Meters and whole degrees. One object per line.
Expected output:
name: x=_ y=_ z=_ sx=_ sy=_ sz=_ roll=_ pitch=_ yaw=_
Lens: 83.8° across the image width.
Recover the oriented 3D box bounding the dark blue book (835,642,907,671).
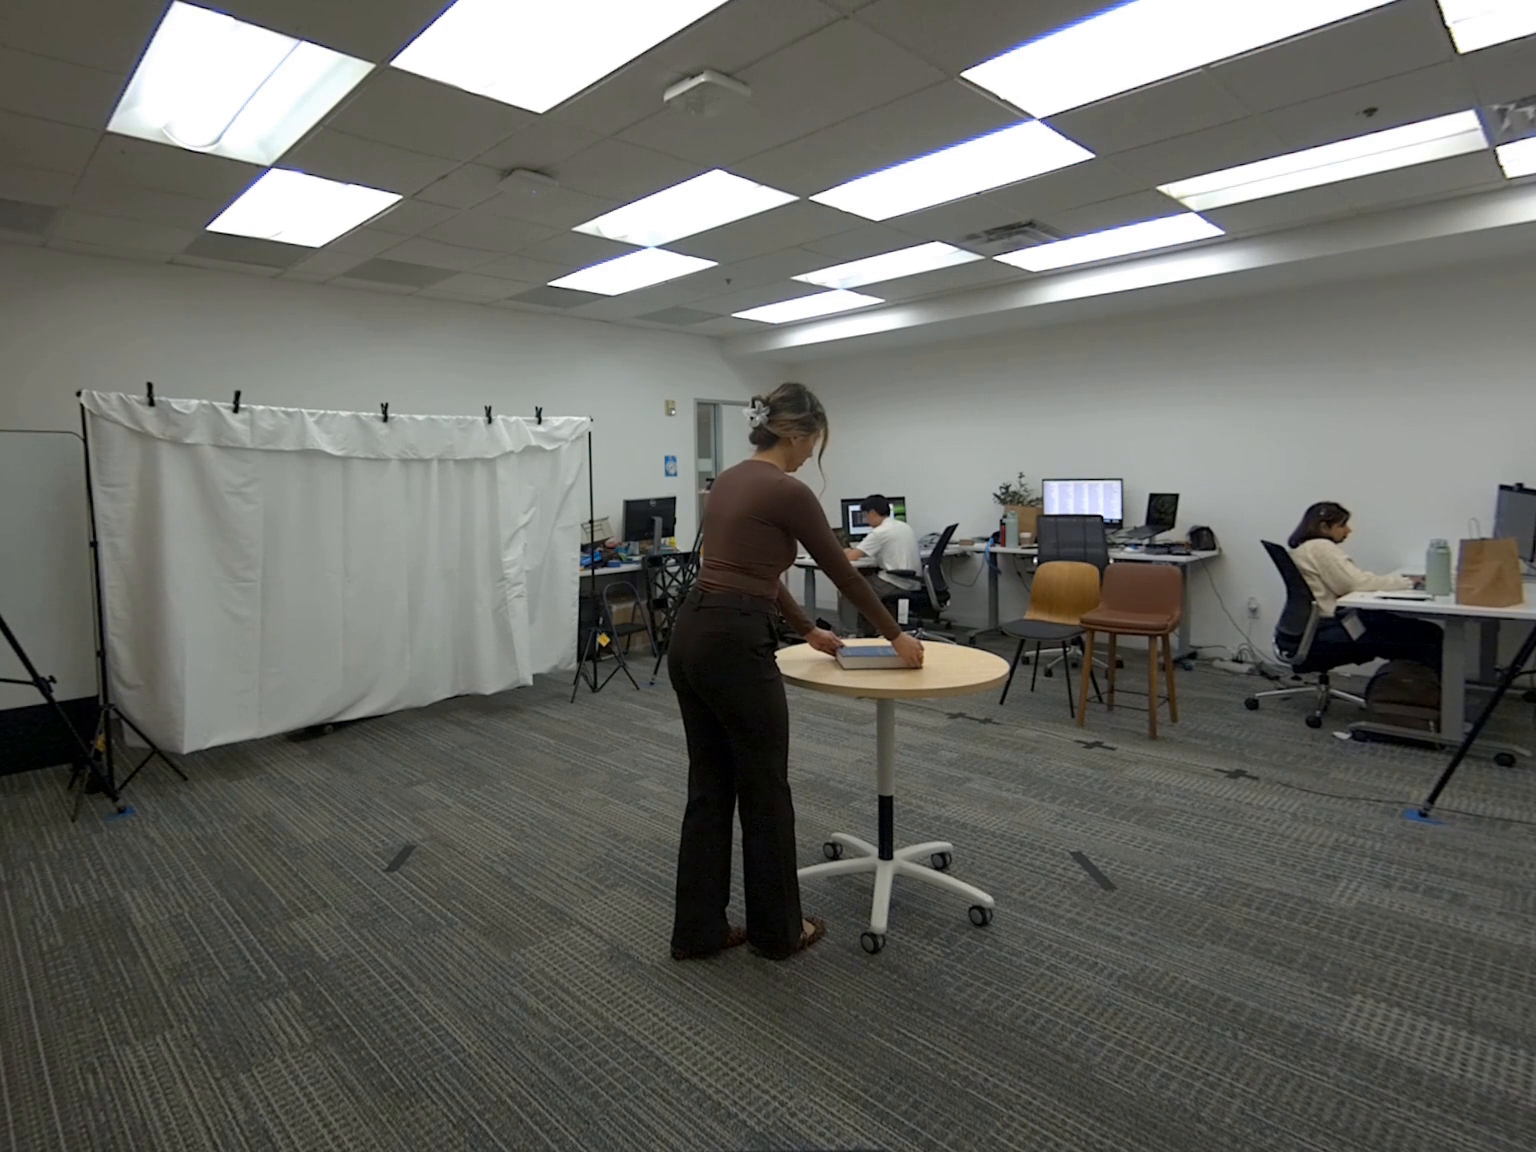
dark blue book: x=0.353 y=0.264 z=2.720 sx=0.246 sy=0.045 sz=0.164 roll=0 pitch=7 yaw=2
